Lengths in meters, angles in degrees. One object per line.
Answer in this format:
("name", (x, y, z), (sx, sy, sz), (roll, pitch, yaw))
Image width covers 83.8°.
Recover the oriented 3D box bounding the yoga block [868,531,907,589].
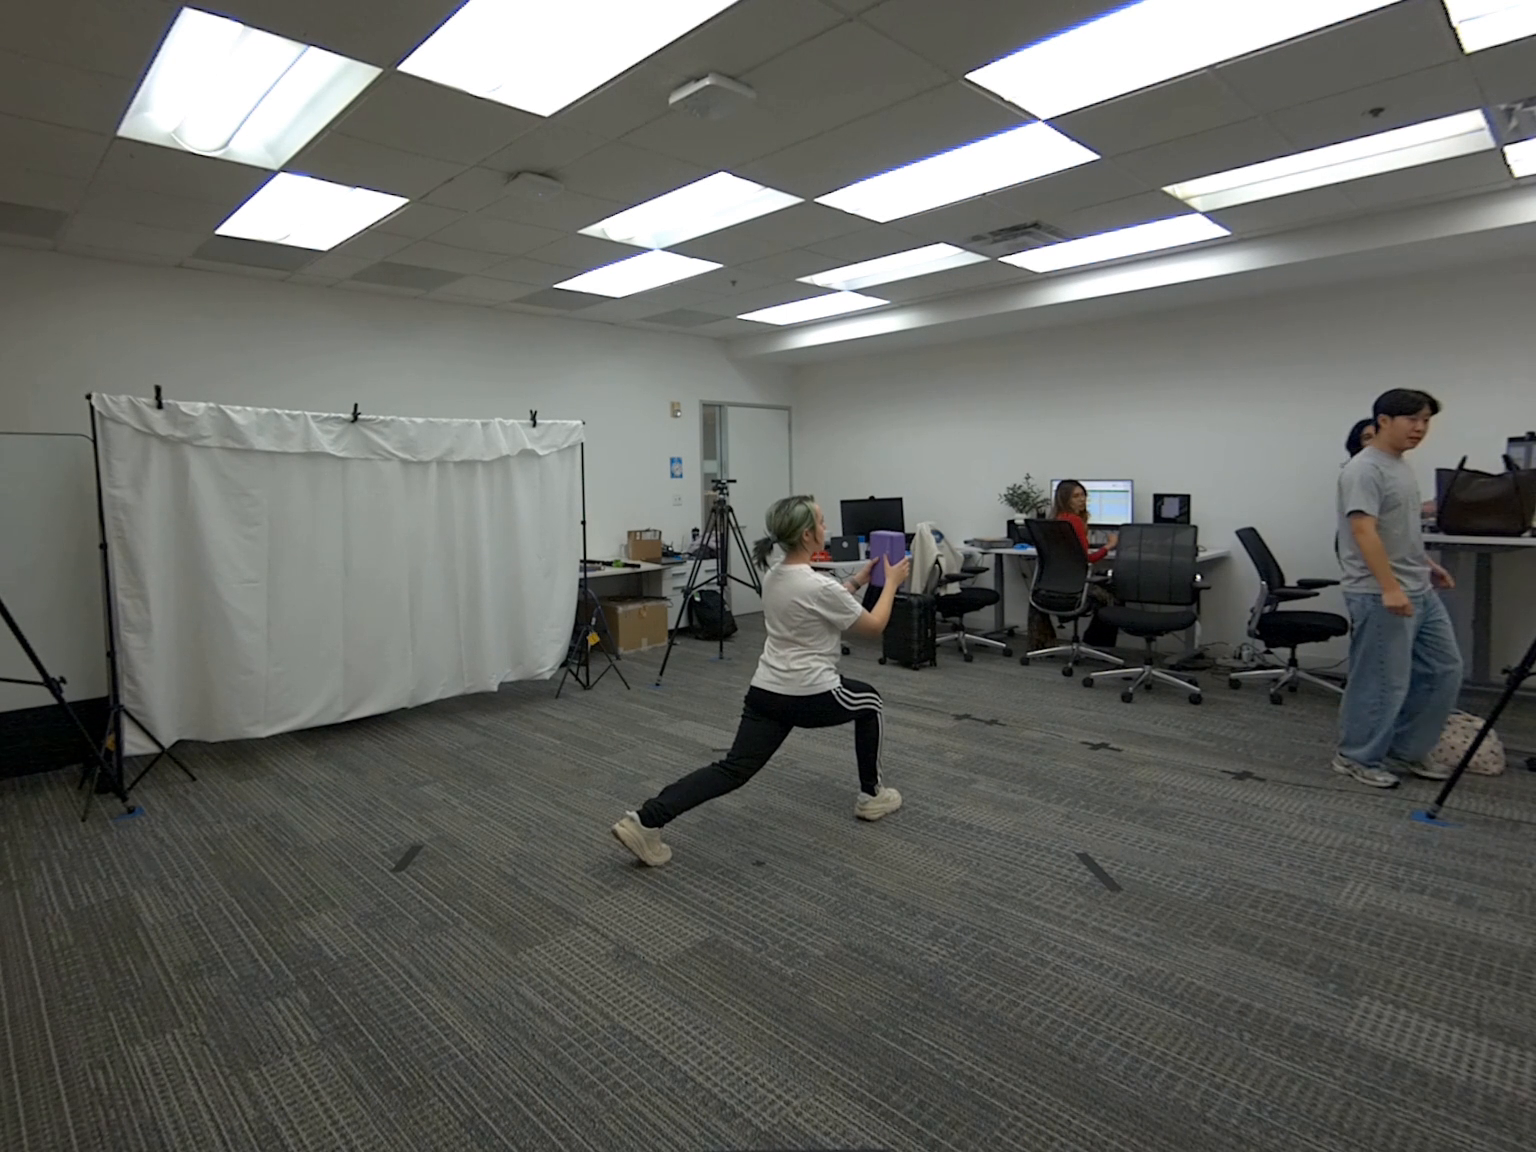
("yoga block", (0.510, -0.069, 3.591), (0.075, 0.228, 0.153), (-4, 7, -28))
